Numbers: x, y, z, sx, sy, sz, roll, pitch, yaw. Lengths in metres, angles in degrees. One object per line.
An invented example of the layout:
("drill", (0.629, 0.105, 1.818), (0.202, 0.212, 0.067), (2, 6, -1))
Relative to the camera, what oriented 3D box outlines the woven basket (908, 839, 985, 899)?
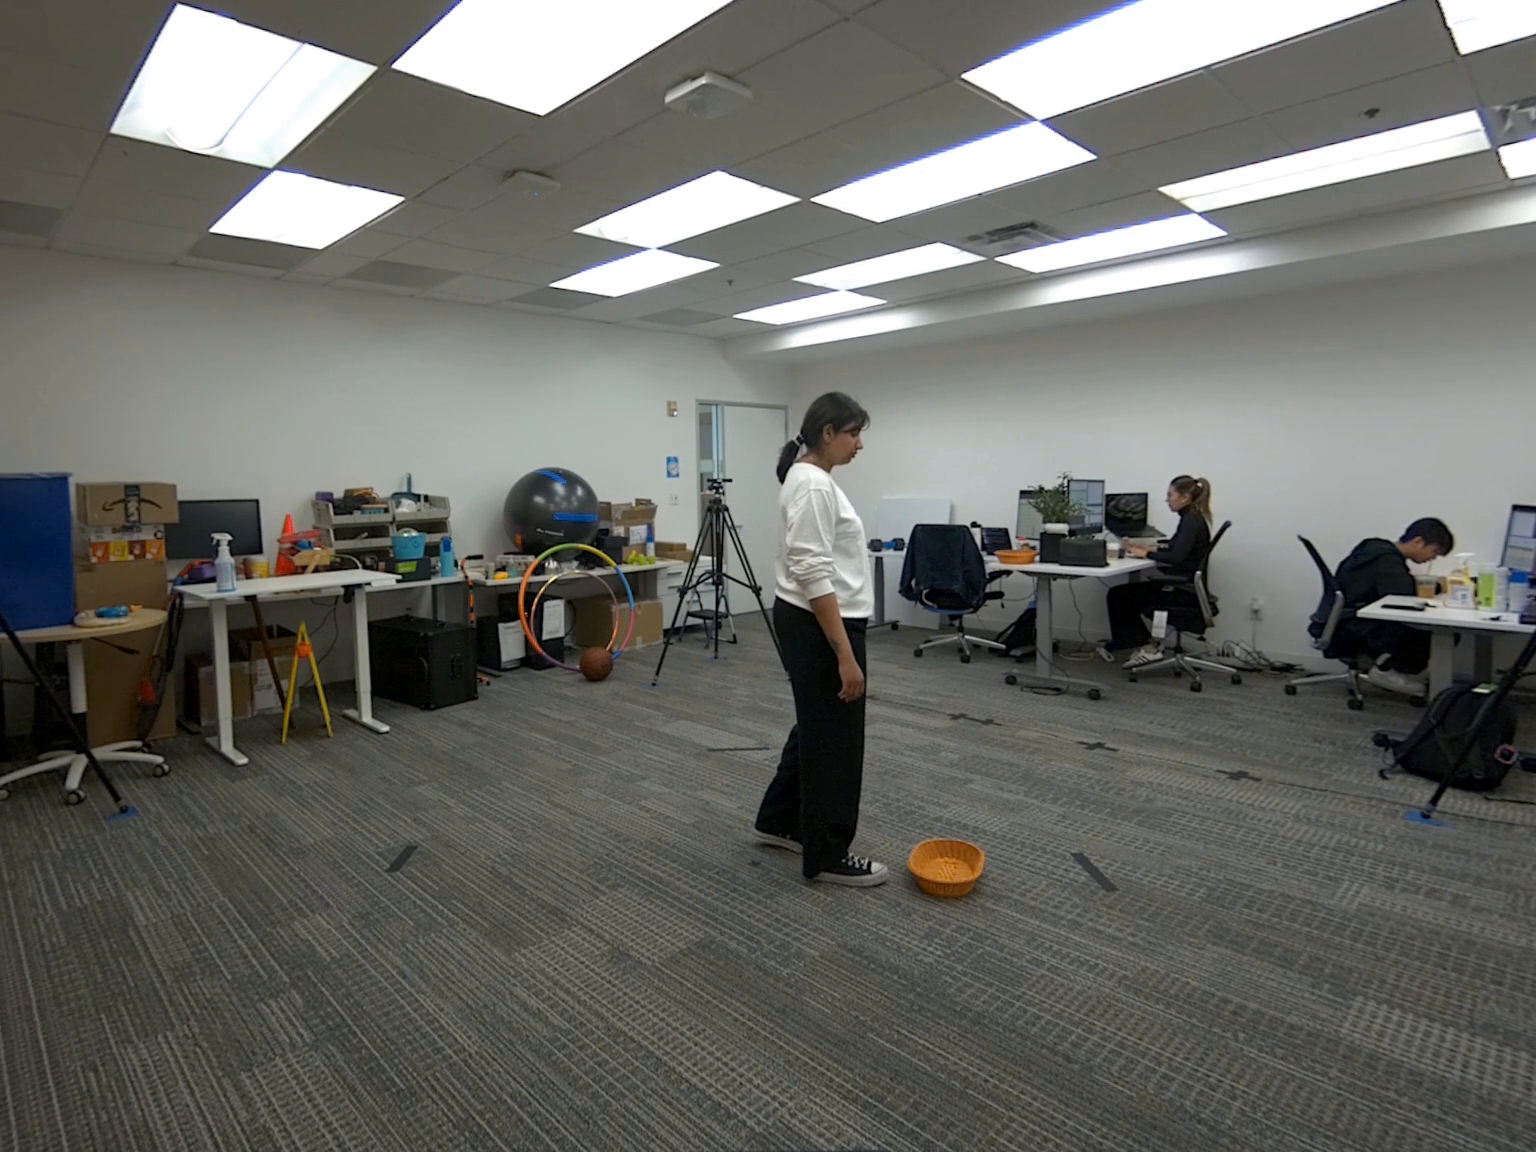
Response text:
("woven basket", (0.614, 1.008, 2.965), (0.258, 0.073, 0.344), (1, 7, 23))
